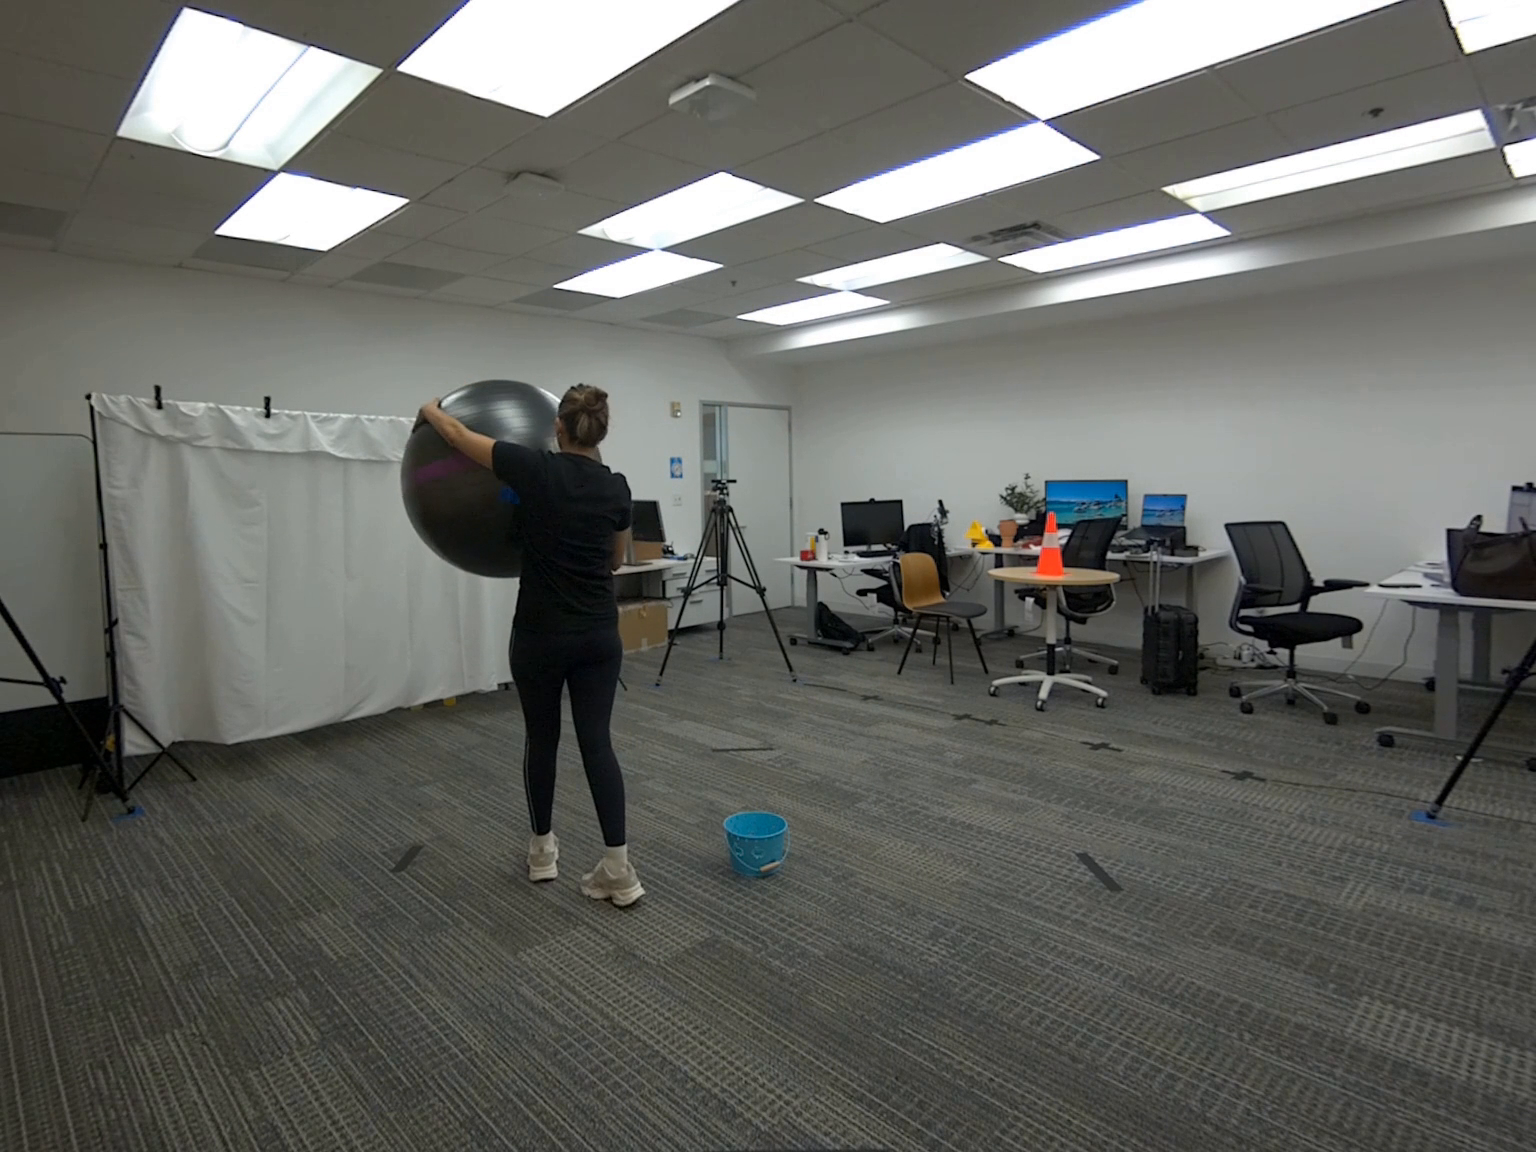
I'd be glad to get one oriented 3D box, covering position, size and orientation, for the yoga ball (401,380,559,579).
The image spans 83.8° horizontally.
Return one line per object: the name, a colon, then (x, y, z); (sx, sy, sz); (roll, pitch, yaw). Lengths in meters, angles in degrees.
yoga ball: (-1.017, -0.363, 3.288); (0.757, 0.755, 0.762); (-1, 5, -2)
